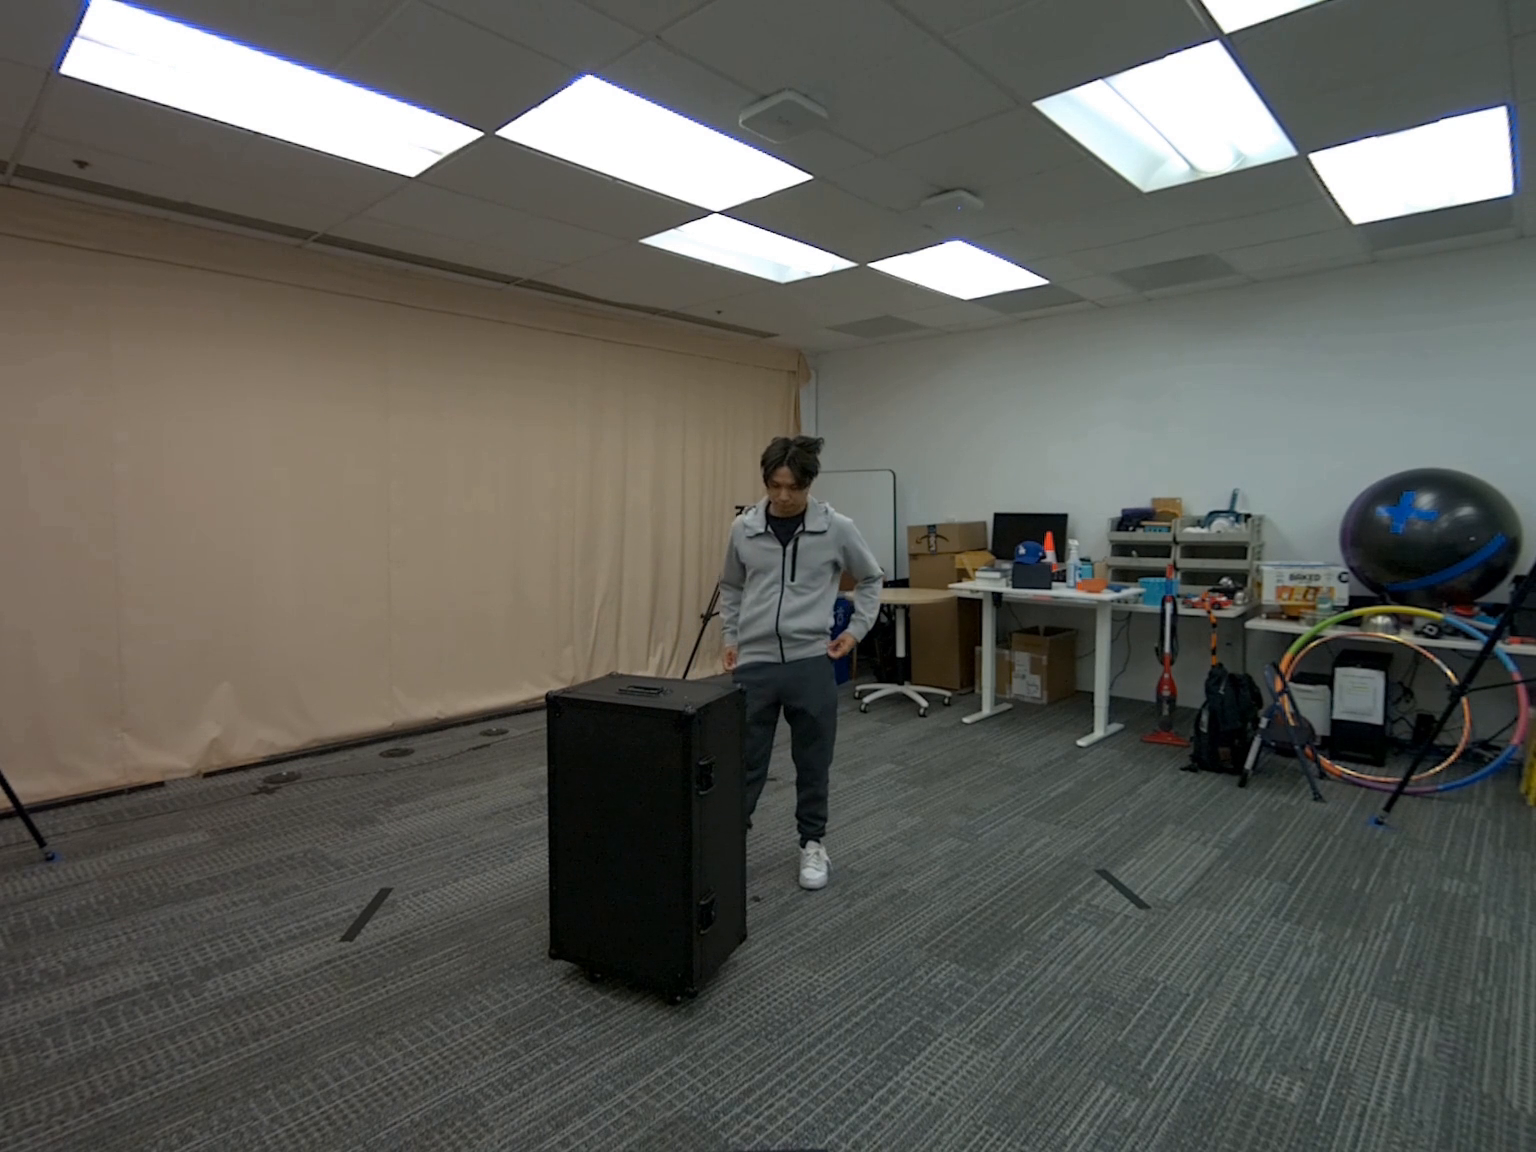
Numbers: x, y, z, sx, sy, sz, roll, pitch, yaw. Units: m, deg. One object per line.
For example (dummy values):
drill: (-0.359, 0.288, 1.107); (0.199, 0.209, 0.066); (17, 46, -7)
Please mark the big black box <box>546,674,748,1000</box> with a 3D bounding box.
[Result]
big black box: (-0.360, 0.763, 2.514); (0.535, 0.860, 0.386); (2, 2, 25)
